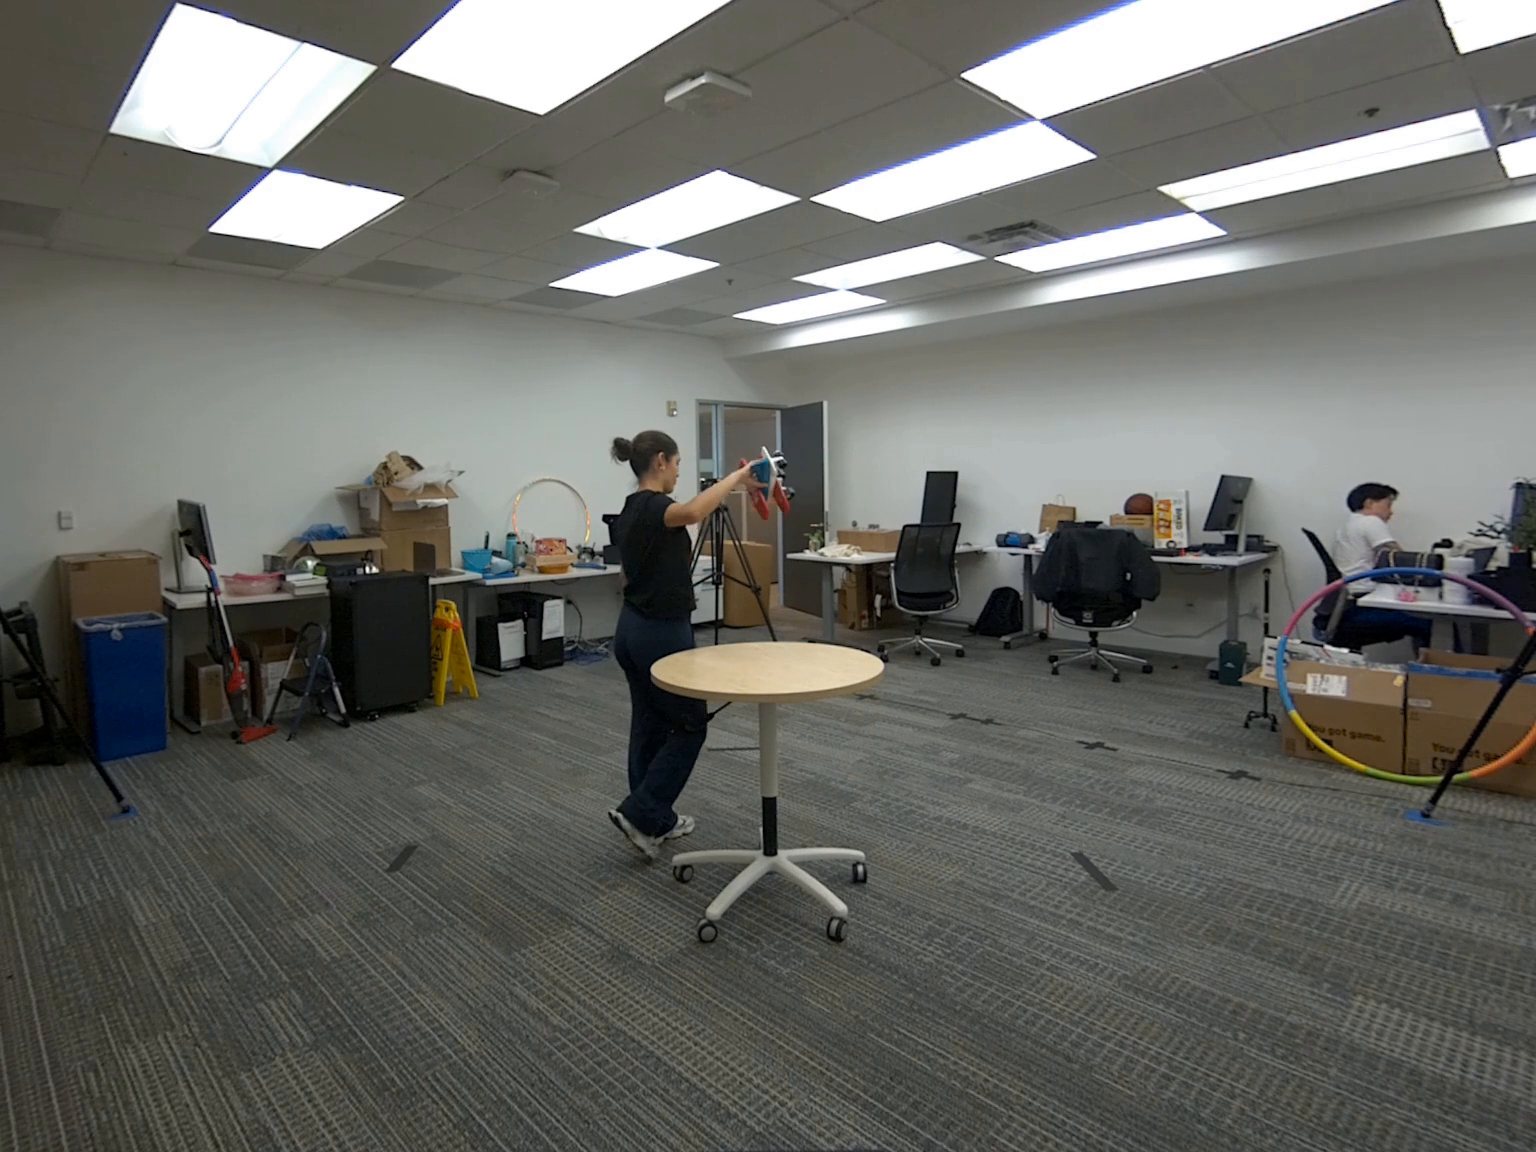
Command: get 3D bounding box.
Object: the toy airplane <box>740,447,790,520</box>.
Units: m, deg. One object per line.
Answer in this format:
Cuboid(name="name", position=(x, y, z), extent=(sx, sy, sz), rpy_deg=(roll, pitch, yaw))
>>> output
Cuboid(name="toy airplane", position=(-0.008, -0.349, 3.083), extent=(0.156, 0.251, 0.260), rpy_deg=(-22, 36, -4))
